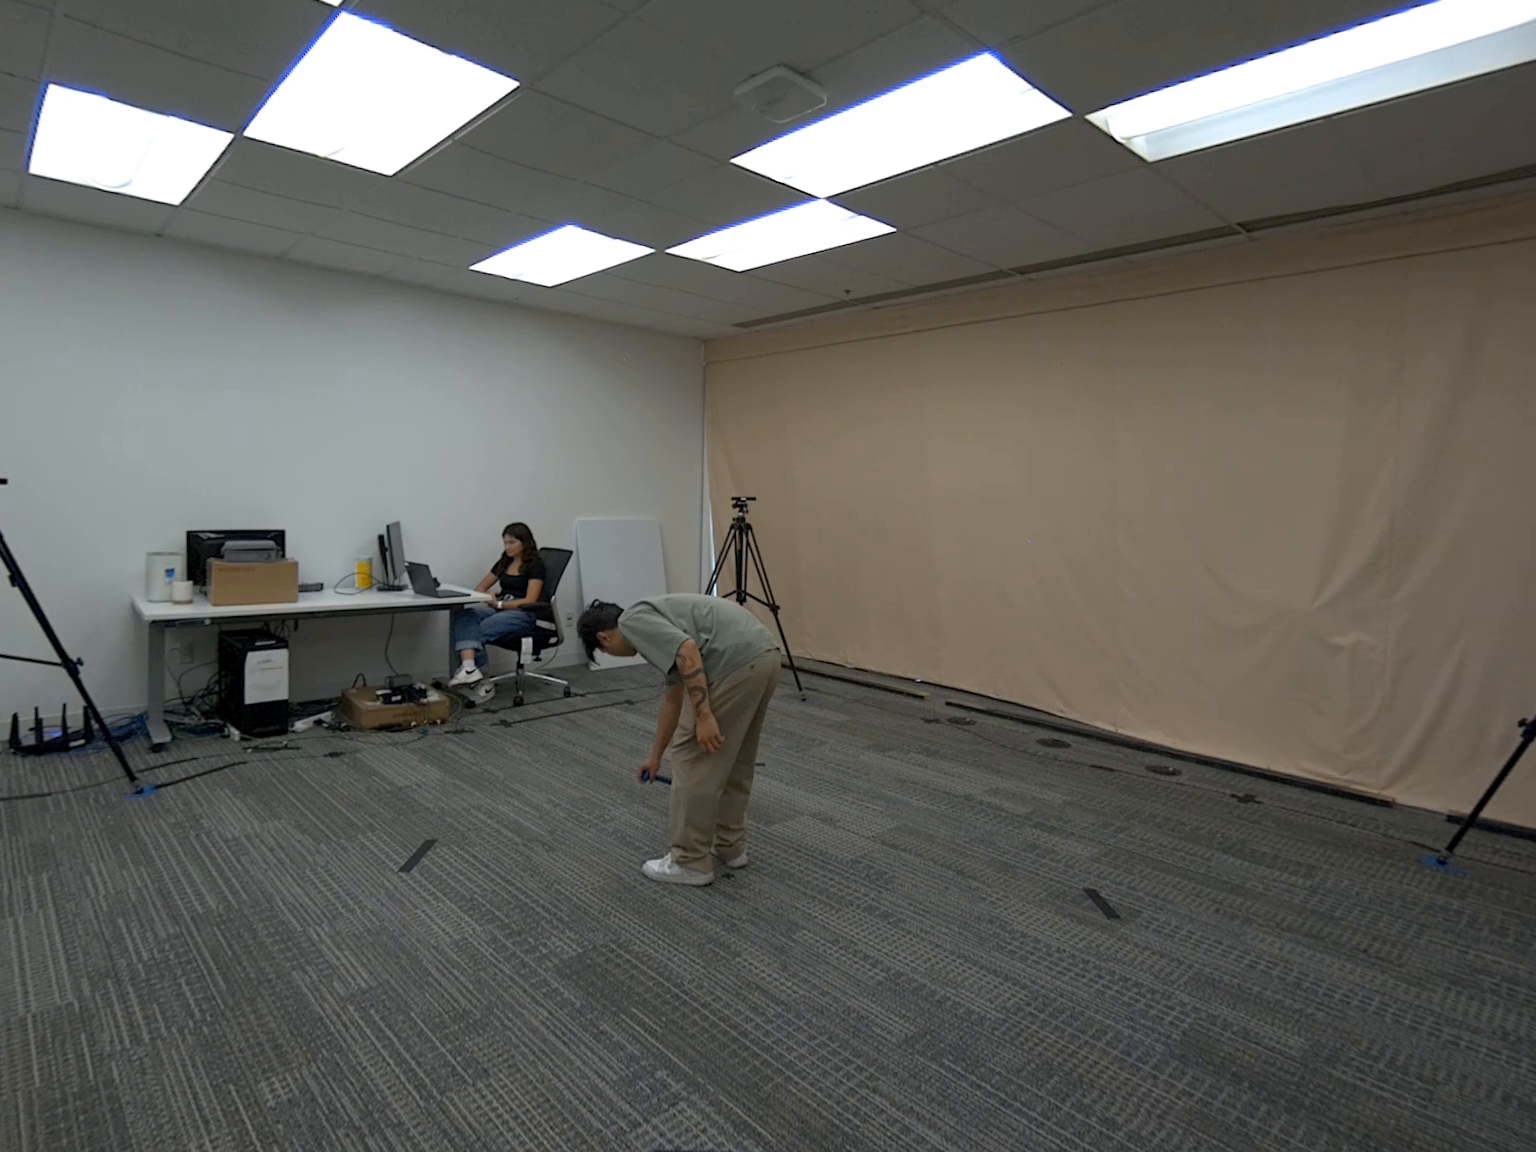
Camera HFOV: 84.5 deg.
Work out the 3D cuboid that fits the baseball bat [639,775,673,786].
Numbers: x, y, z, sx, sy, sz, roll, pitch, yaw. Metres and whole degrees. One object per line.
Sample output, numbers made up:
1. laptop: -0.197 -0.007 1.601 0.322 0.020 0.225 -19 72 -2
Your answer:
1. baseball bat: -0.341 0.922 3.643 0.091 0.089 0.526 5 -17 45
